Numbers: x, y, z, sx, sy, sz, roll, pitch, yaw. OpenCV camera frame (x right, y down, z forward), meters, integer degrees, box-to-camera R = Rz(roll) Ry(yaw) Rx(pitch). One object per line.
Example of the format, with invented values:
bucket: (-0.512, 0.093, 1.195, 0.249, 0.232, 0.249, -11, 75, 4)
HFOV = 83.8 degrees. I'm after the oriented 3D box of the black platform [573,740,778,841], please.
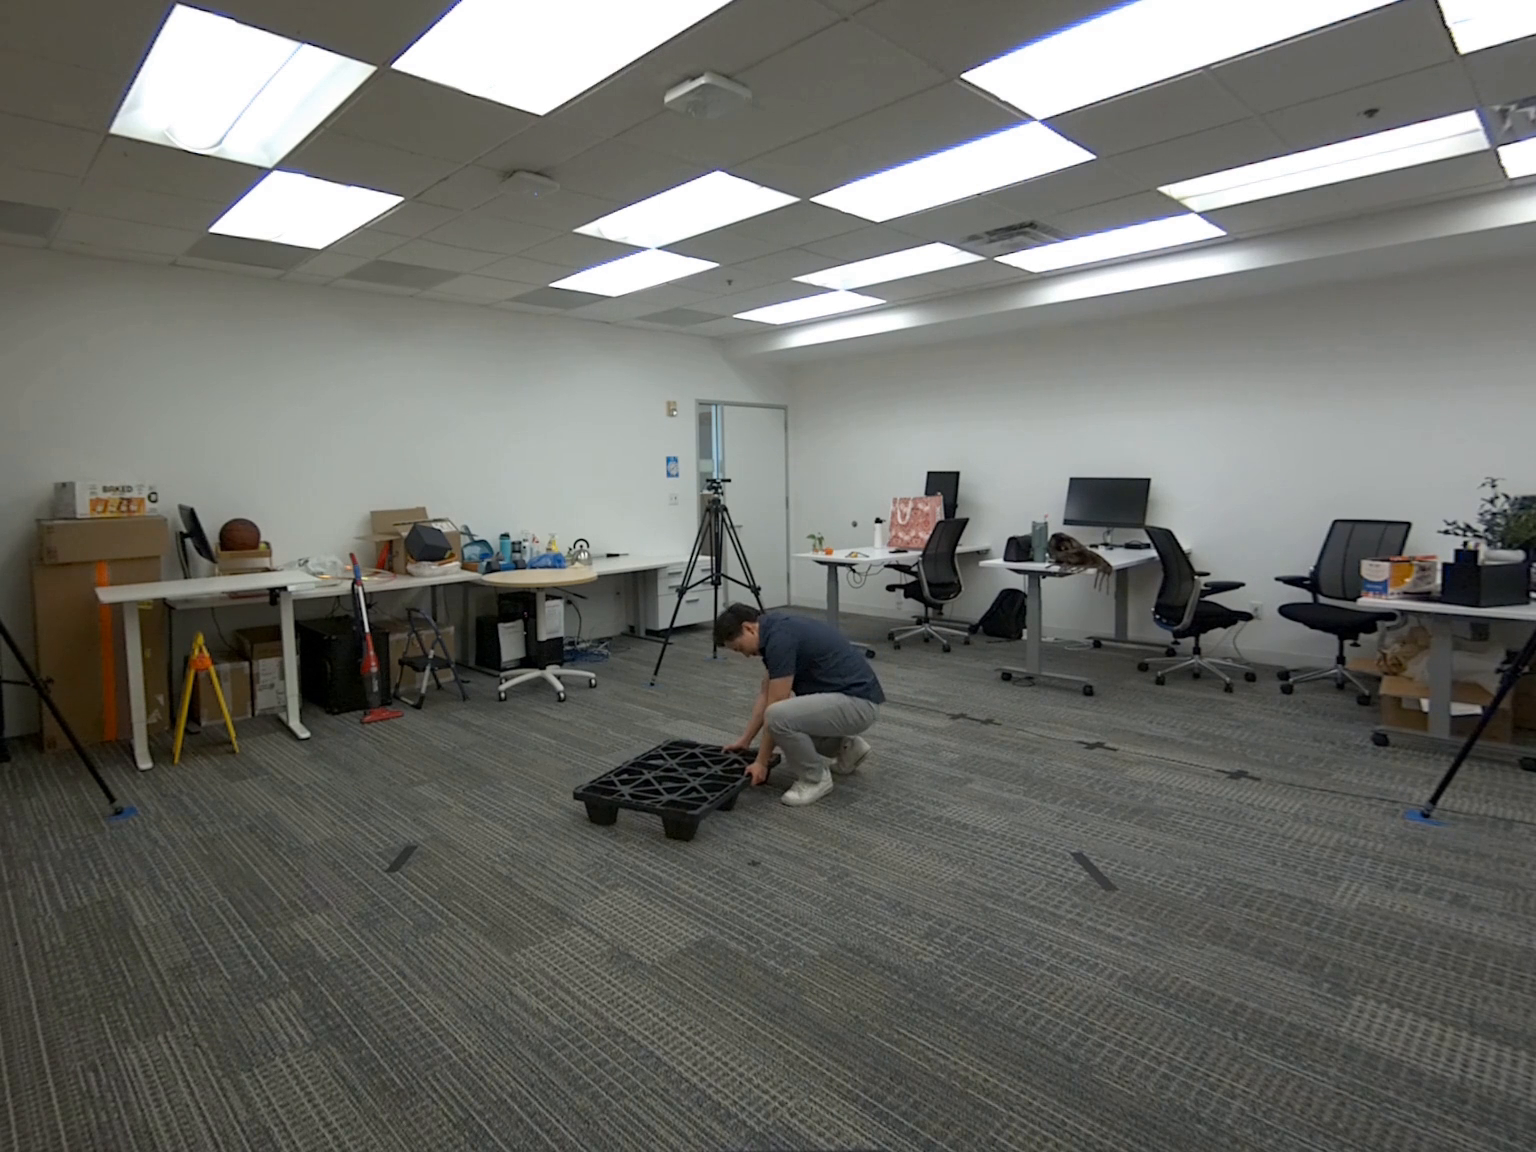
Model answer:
black platform: (-0.375, 0.914, 3.714, 0.619, 0.143, 0.790, 1, 6, 26)
